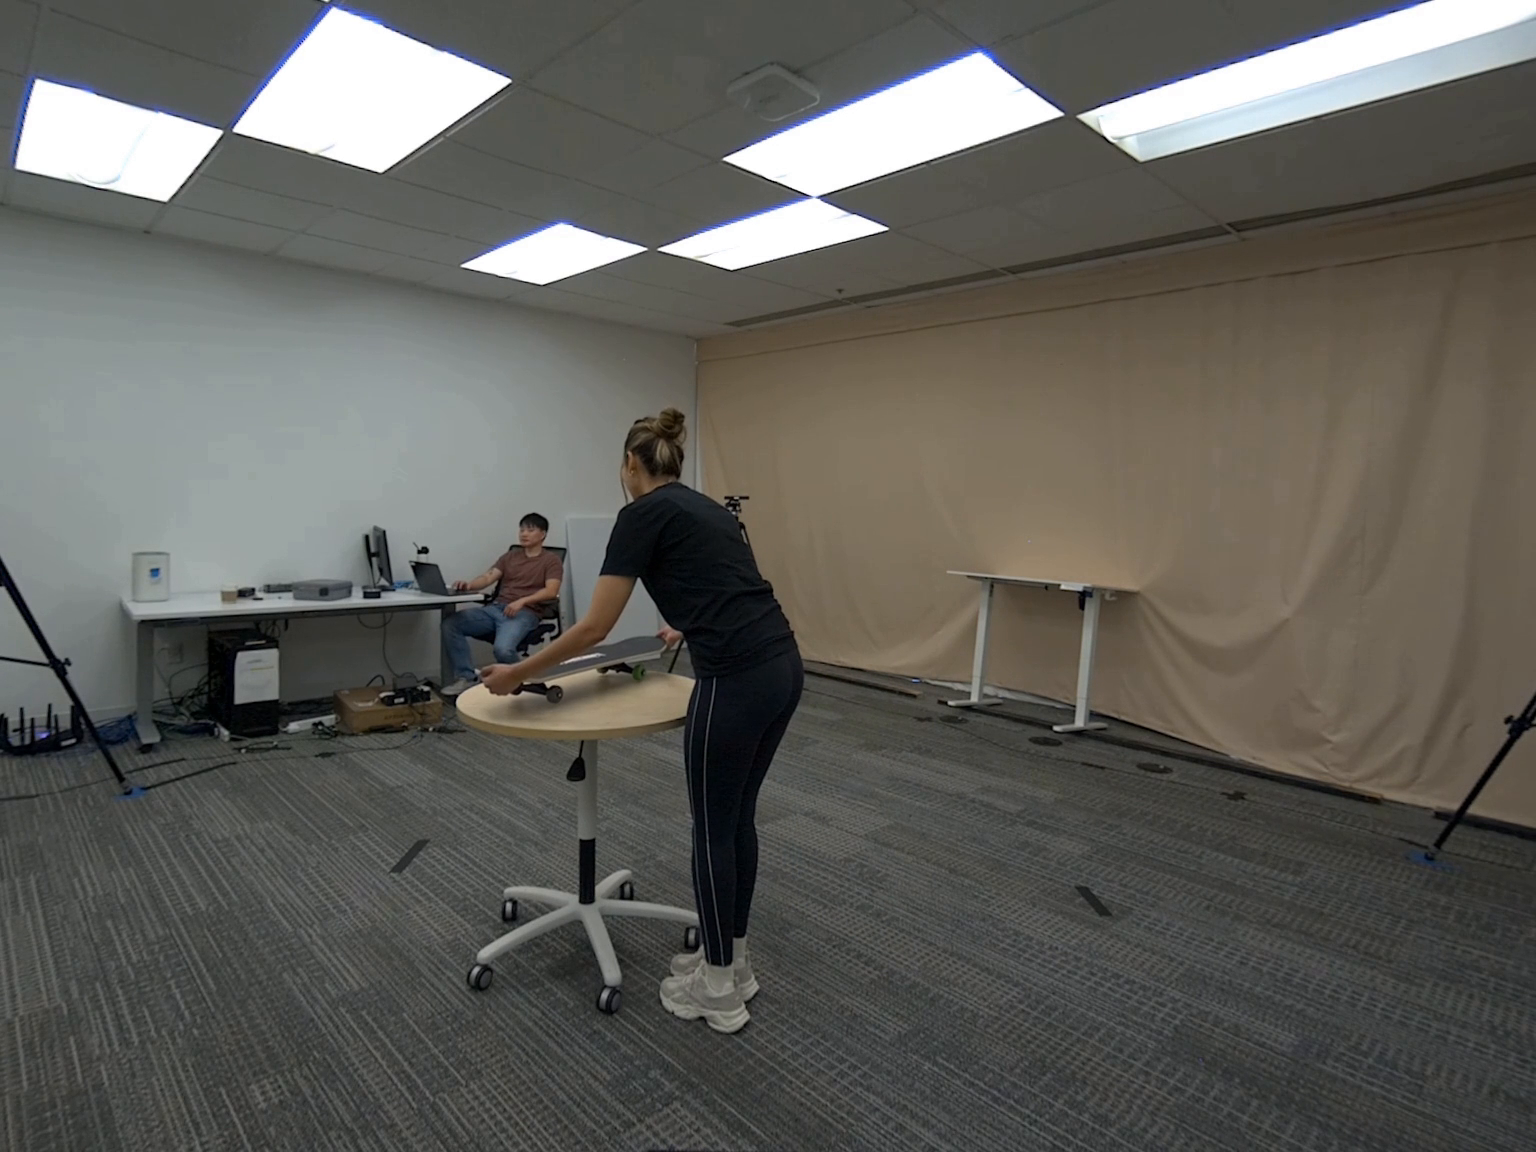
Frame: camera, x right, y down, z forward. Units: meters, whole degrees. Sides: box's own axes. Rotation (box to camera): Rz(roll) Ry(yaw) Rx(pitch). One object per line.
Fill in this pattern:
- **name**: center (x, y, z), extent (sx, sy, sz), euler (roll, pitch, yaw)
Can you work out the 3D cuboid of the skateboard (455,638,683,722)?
- **skateboard**: center (-0.571, 0.298, 2.583), extent (0.198, 0.110, 0.770), euler (4, 5, 30)
